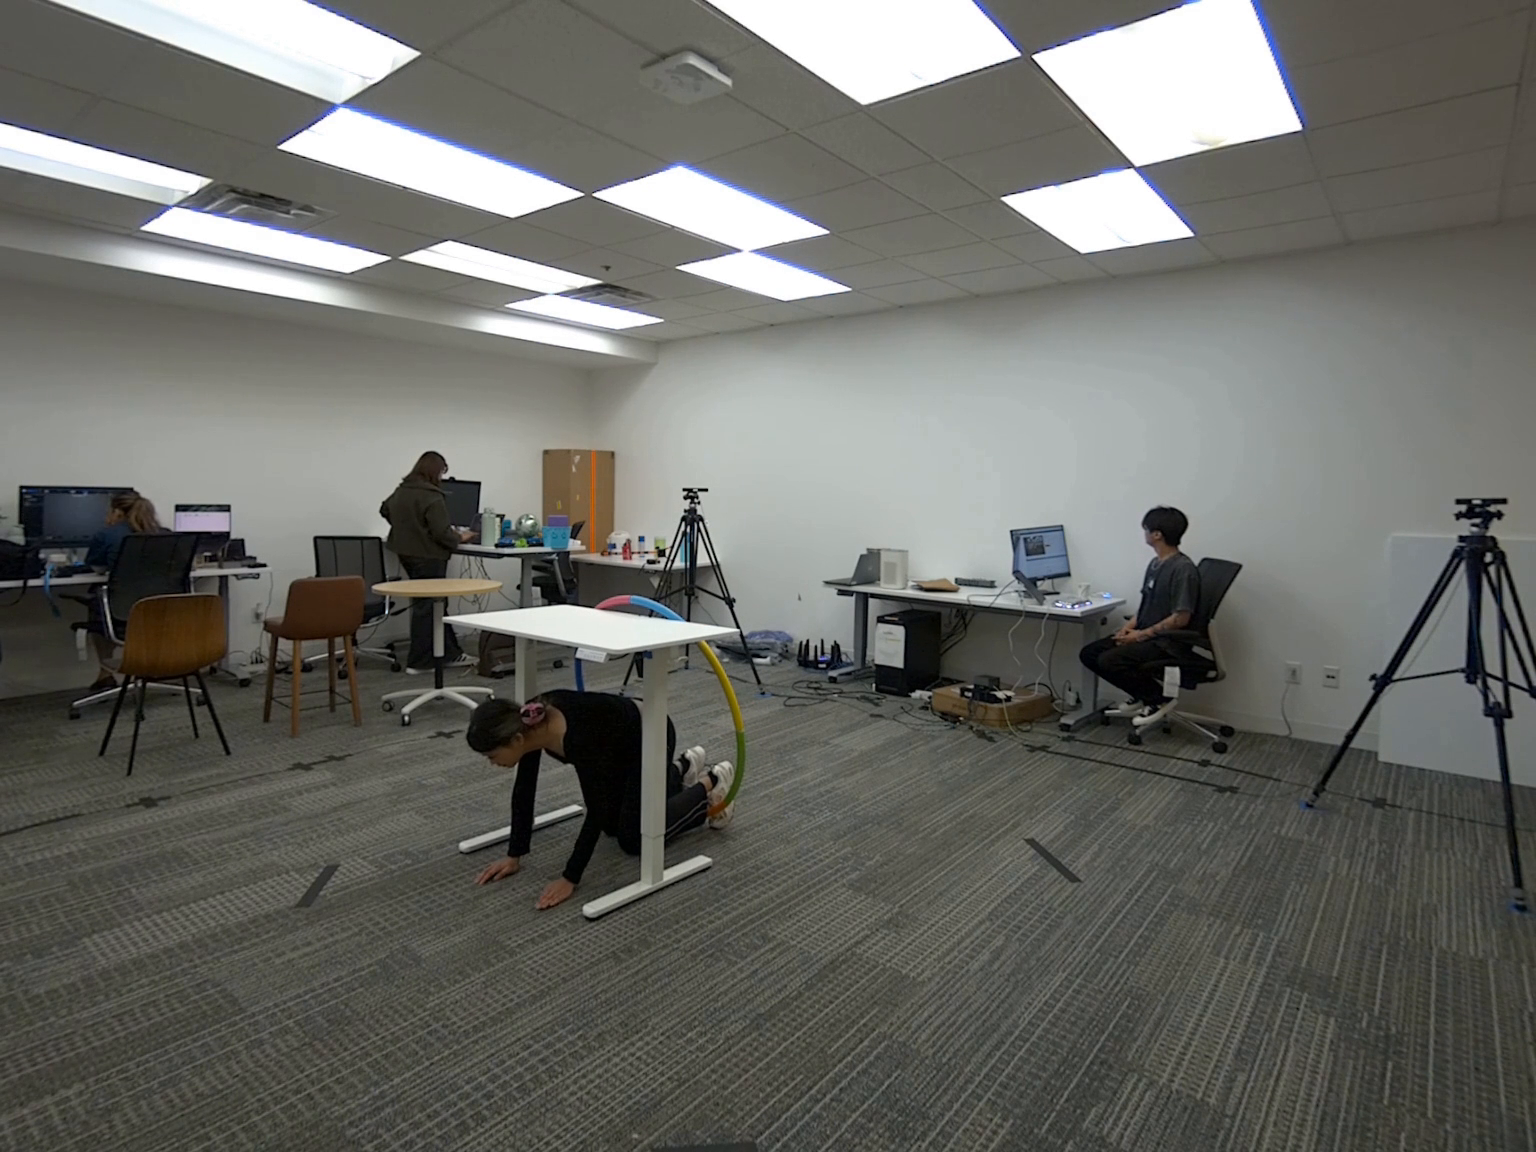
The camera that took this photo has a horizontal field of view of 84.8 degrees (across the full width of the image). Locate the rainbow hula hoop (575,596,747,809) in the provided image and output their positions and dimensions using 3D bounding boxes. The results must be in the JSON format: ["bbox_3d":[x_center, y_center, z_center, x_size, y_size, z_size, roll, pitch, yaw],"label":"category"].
[{"bbox_3d":[-0.487,0.555,3.532,1.012,0.964,0.035,5,19,40],"label":"rainbow hula hoop"}]
